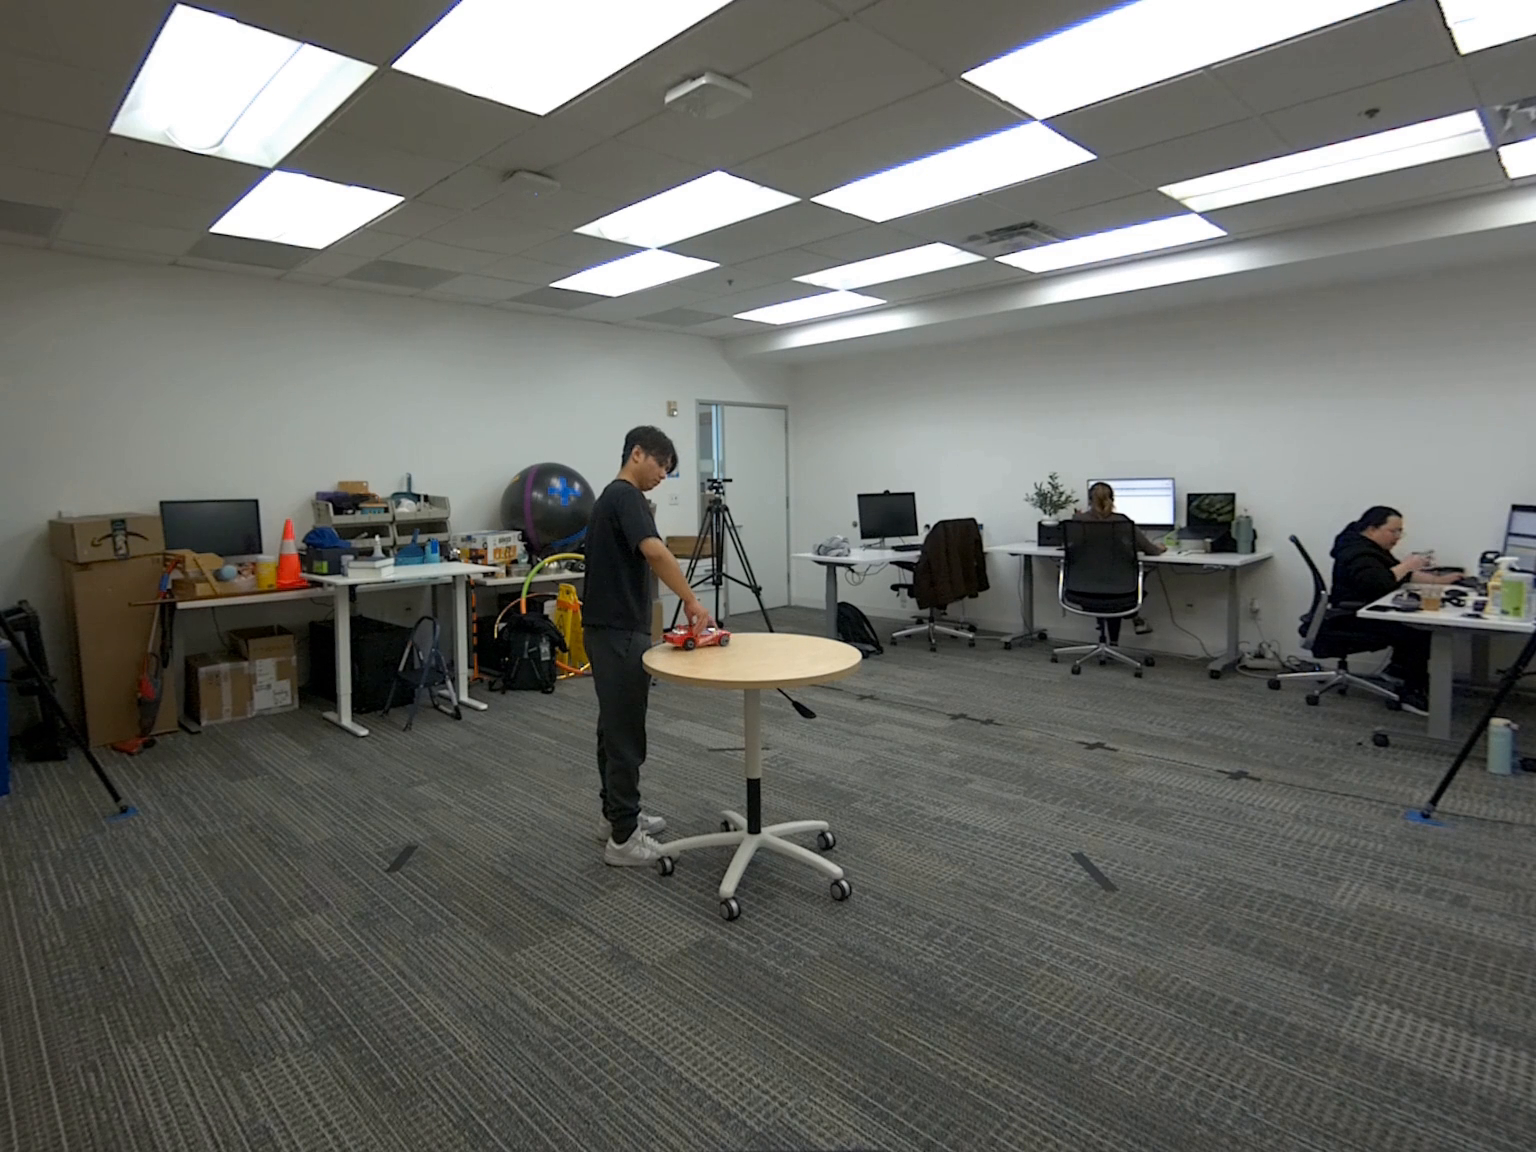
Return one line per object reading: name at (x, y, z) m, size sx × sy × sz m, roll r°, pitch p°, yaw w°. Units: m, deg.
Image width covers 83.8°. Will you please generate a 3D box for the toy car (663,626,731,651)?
toy car at (-0.268, 0.228, 3.133) m, size 0.247 × 0.083 × 0.134 m, roll 8°, pitch 1°, yaw -30°
